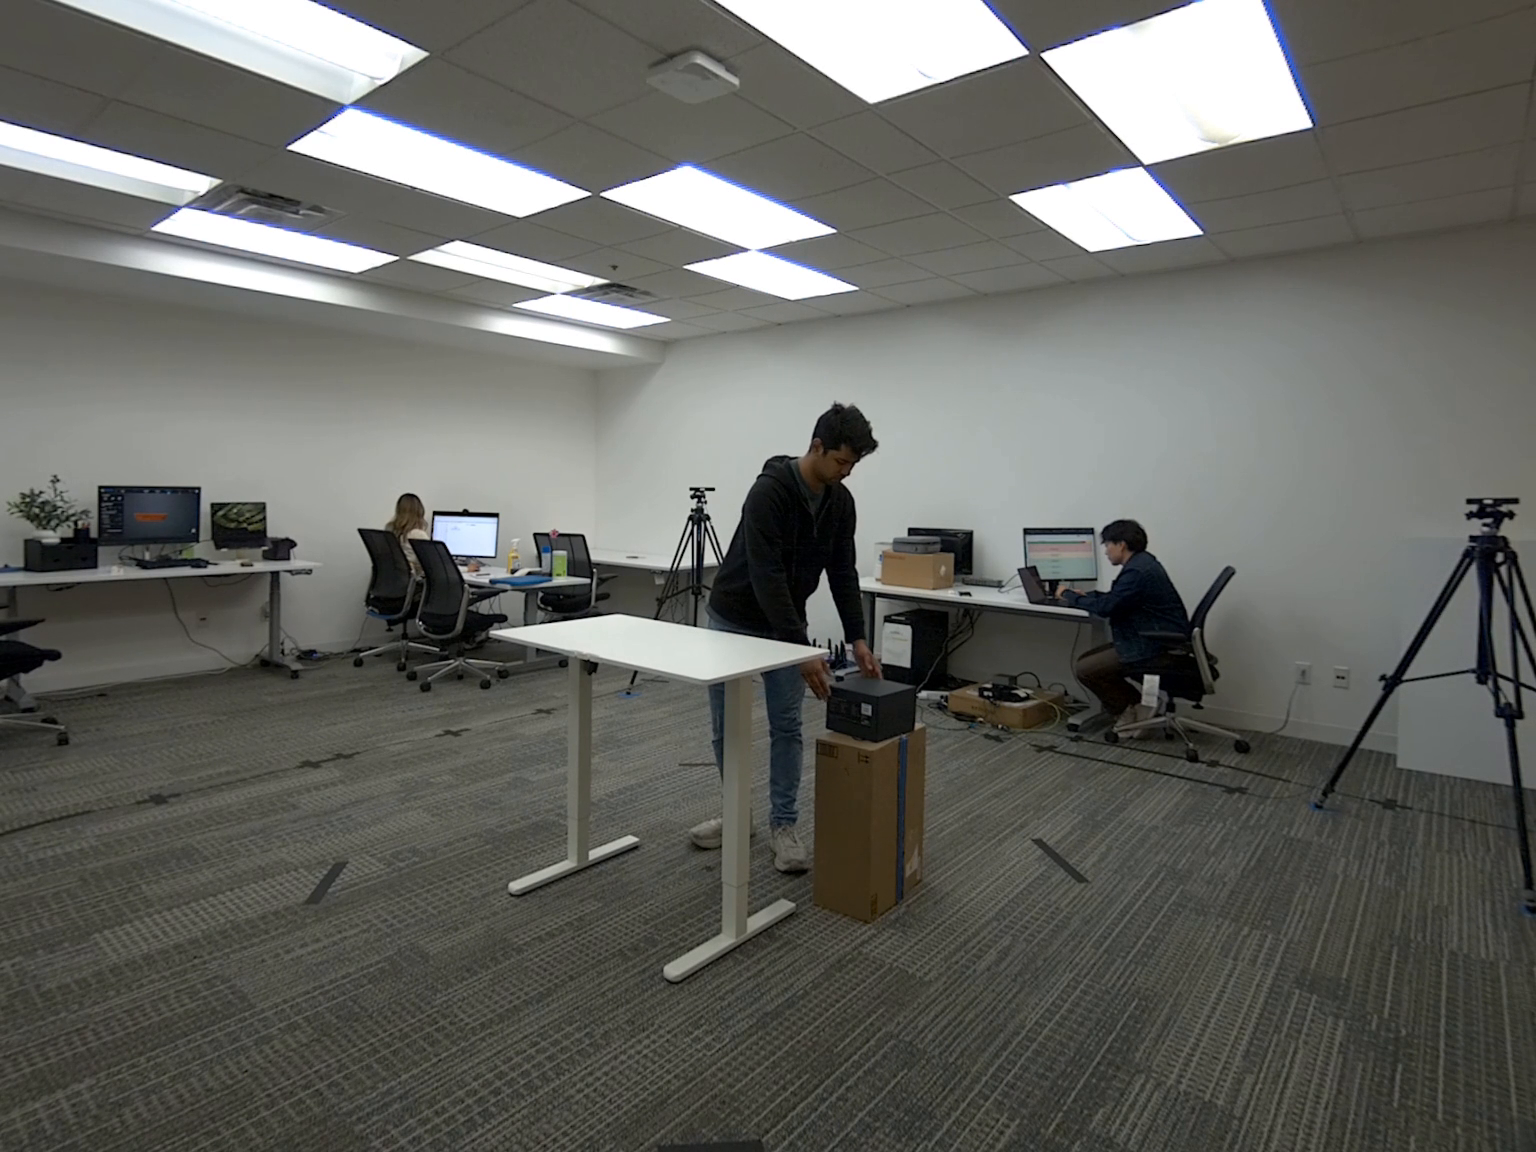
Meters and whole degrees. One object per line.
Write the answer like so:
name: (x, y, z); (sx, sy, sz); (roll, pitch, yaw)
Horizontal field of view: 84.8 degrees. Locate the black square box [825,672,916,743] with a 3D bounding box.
black square box: (0.348, 0.451, 2.934); (0.224, 0.155, 0.221); (5, 6, 44)
